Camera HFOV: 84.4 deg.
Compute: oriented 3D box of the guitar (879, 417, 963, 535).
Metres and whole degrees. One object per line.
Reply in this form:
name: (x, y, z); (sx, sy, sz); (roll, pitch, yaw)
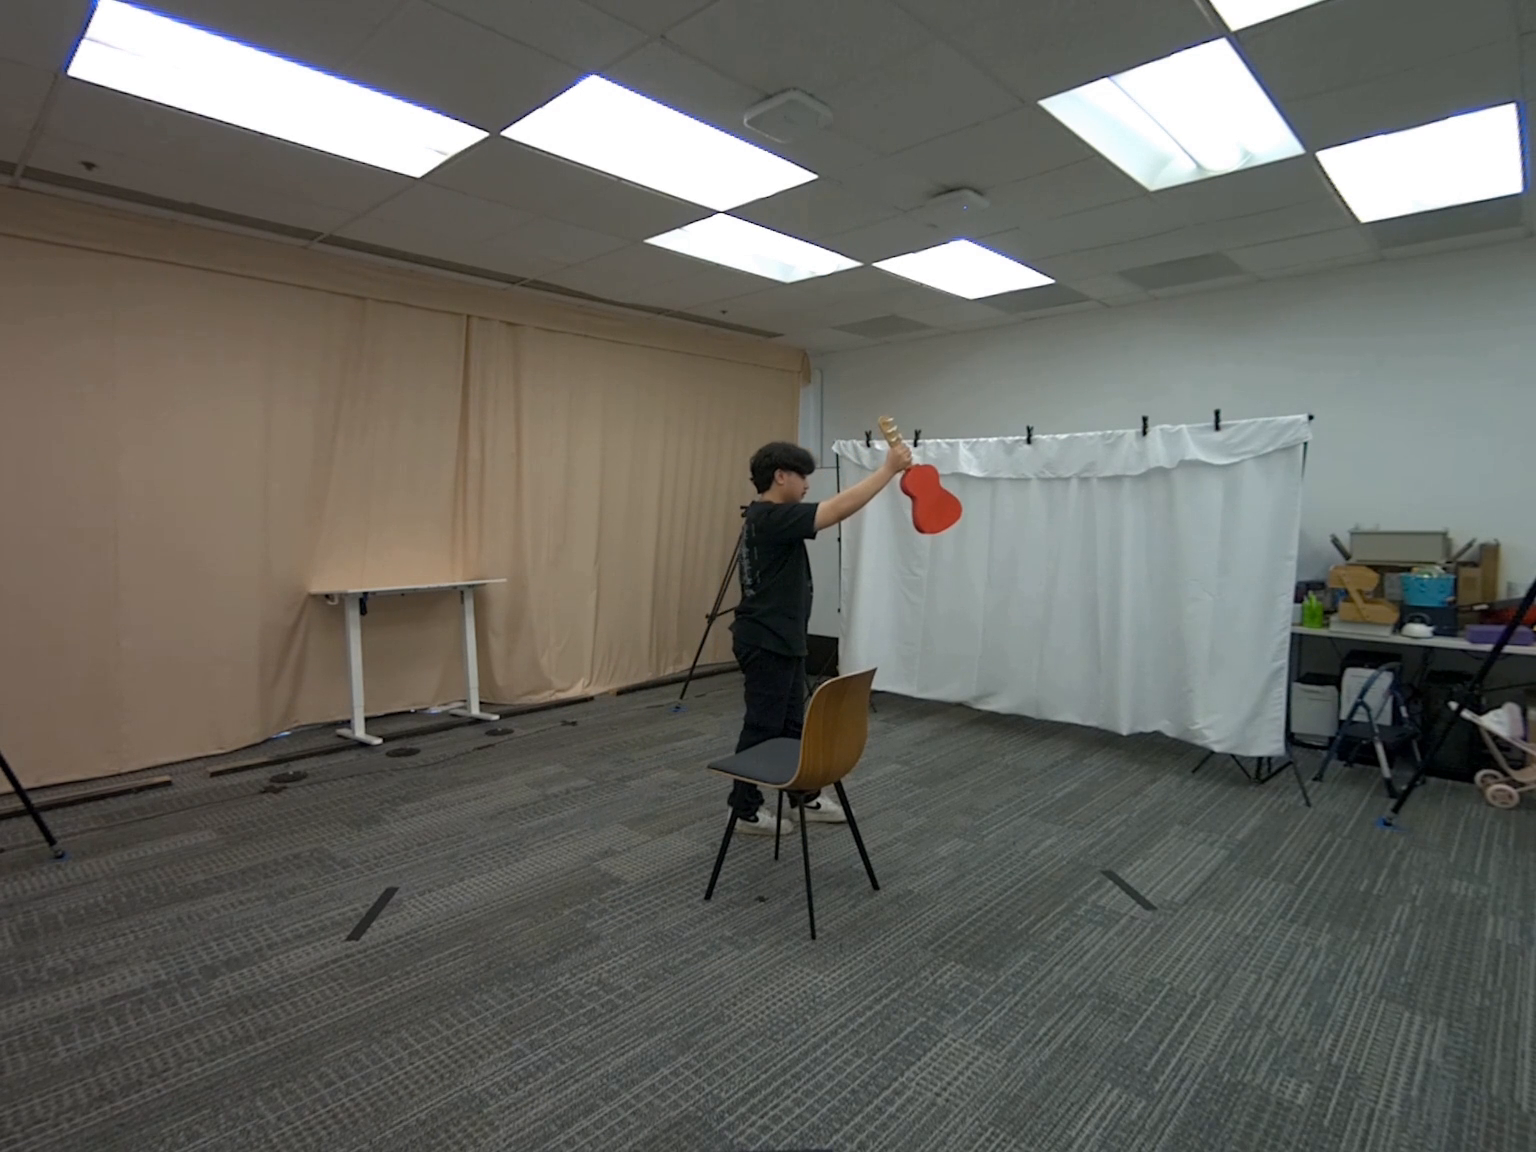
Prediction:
guitar: (0.557, -0.387, 3.290); (0.192, 0.495, 0.071); (-37, 5, -9)
